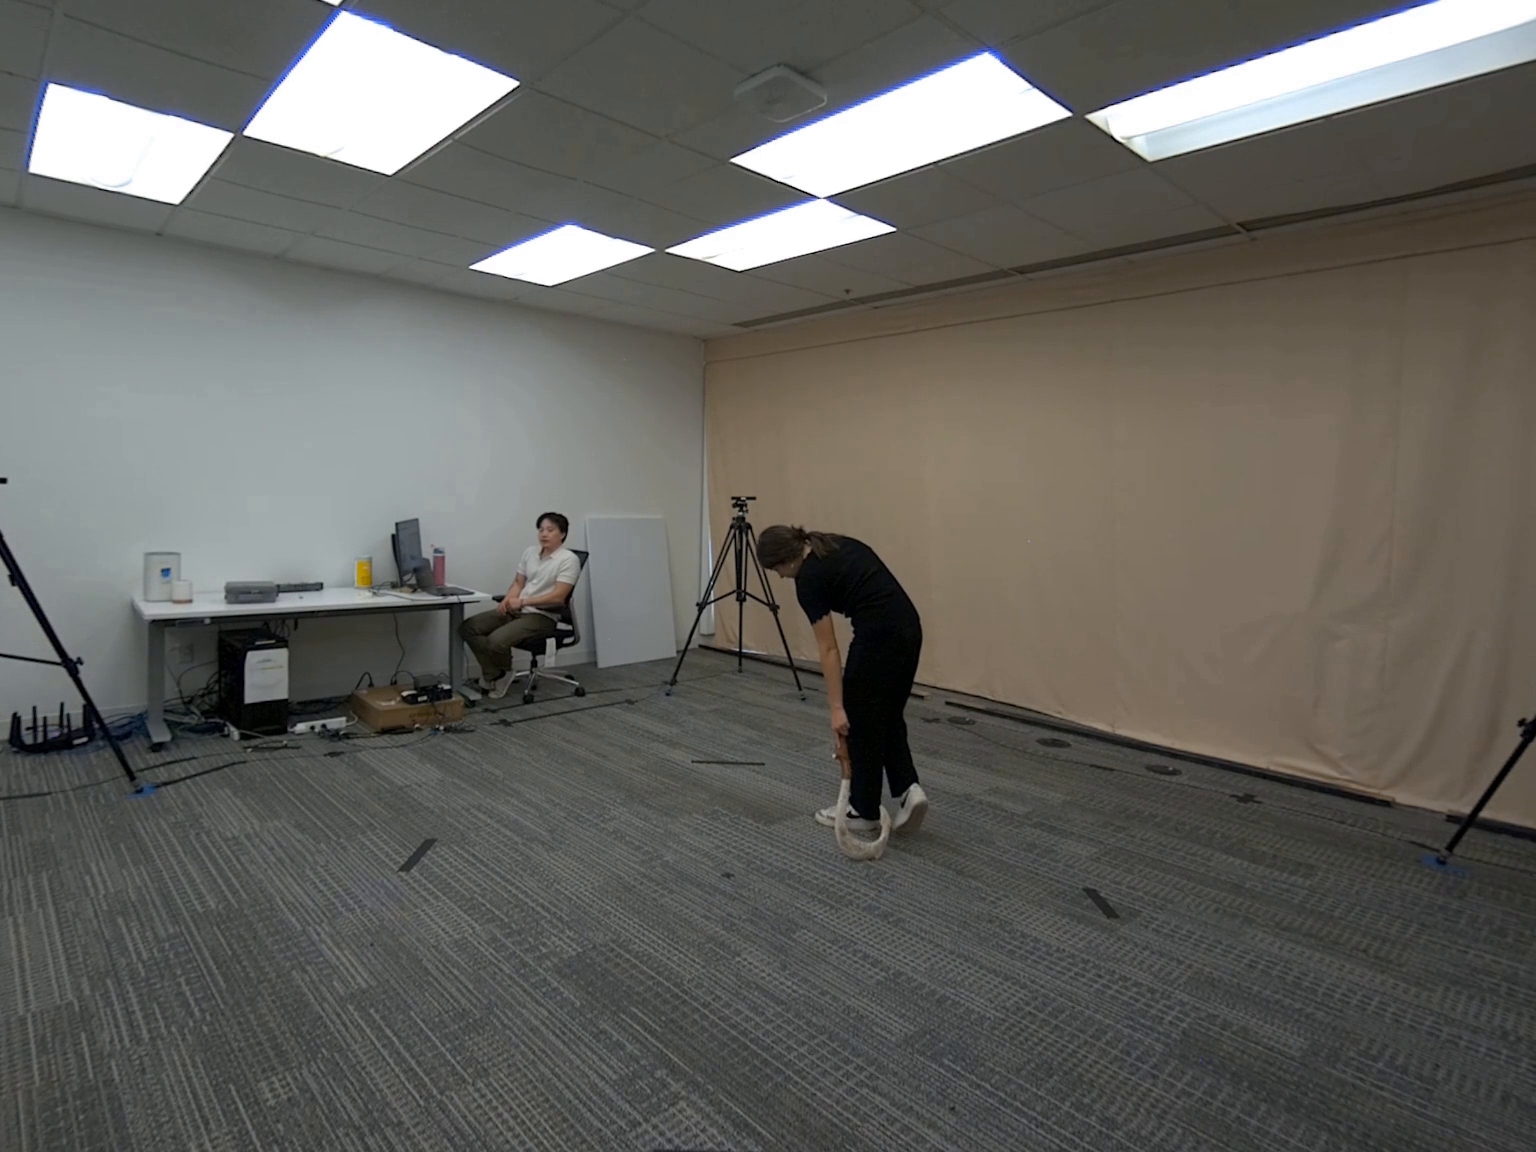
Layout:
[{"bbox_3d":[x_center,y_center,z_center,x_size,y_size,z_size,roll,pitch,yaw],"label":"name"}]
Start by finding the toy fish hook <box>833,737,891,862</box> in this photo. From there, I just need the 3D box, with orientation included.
[{"bbox_3d":[0.356,0.865,3.360,0.222,0.514,0.048,0,-20,-13],"label":"toy fish hook"}]
